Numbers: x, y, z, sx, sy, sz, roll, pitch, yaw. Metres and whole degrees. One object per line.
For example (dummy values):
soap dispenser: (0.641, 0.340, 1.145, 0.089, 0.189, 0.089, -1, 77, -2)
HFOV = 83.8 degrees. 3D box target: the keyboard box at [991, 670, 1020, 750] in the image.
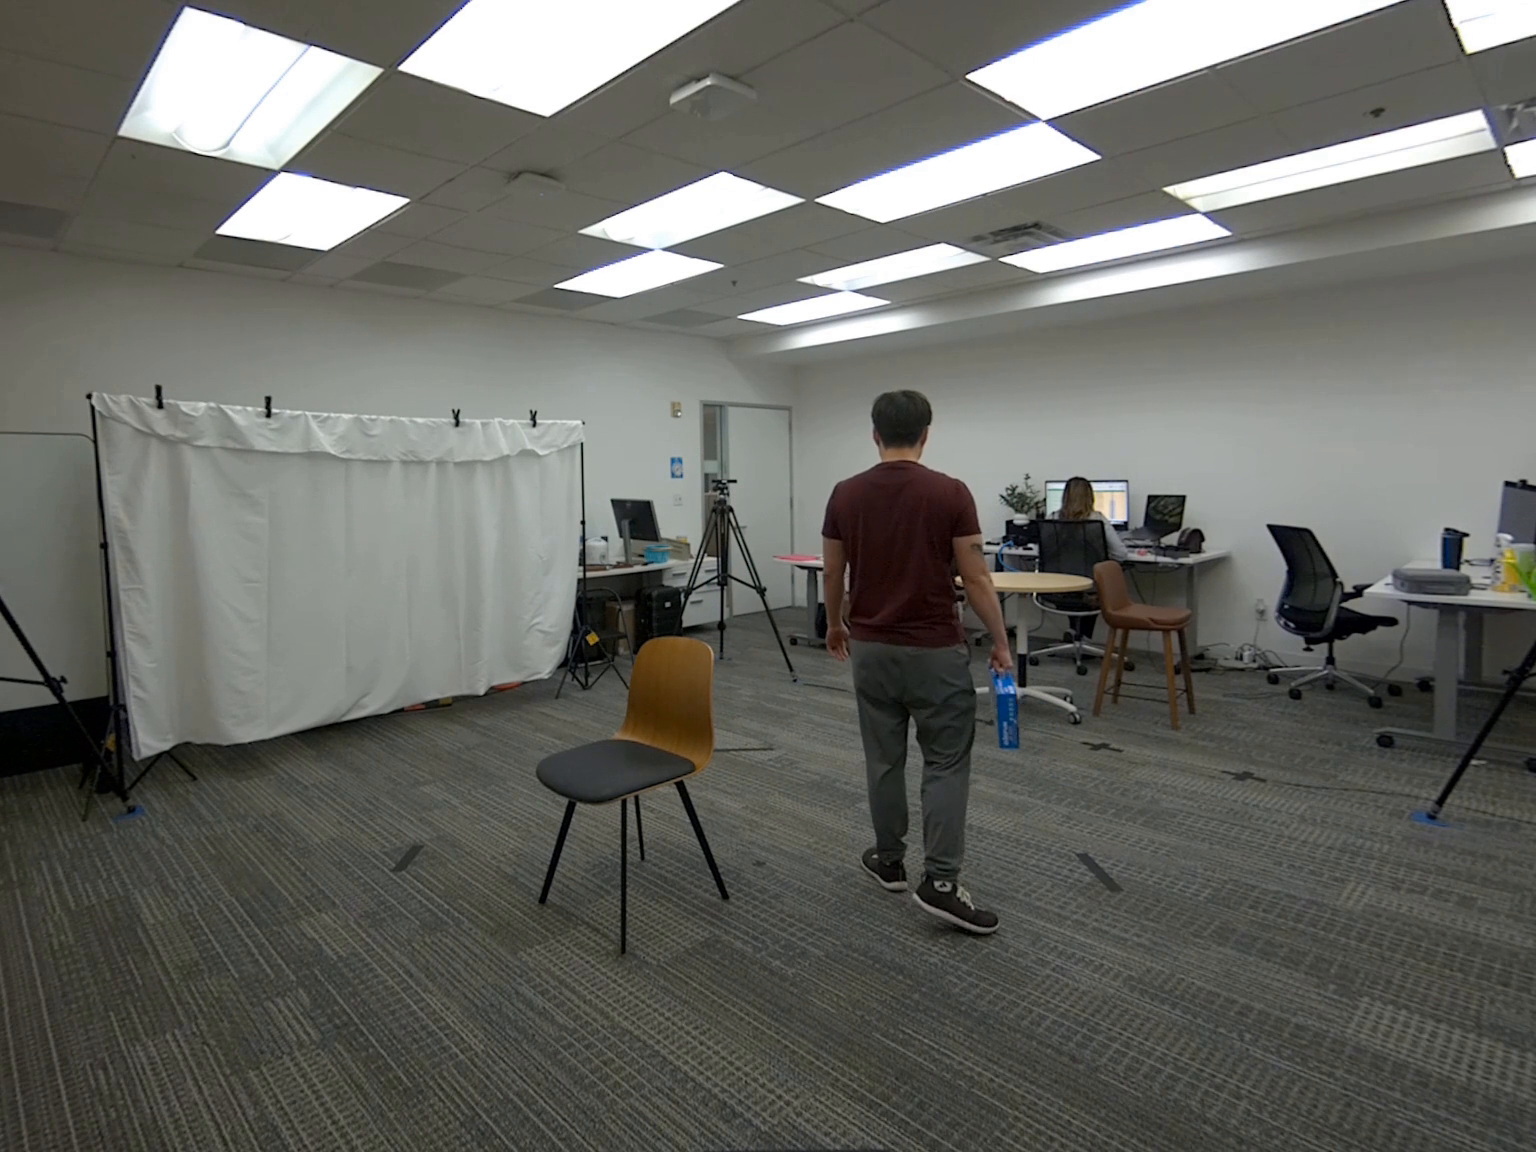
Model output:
keyboard box: (0.760, 0.406, 2.791, 0.060, 0.175, 0.434, -3, 8, 12)
